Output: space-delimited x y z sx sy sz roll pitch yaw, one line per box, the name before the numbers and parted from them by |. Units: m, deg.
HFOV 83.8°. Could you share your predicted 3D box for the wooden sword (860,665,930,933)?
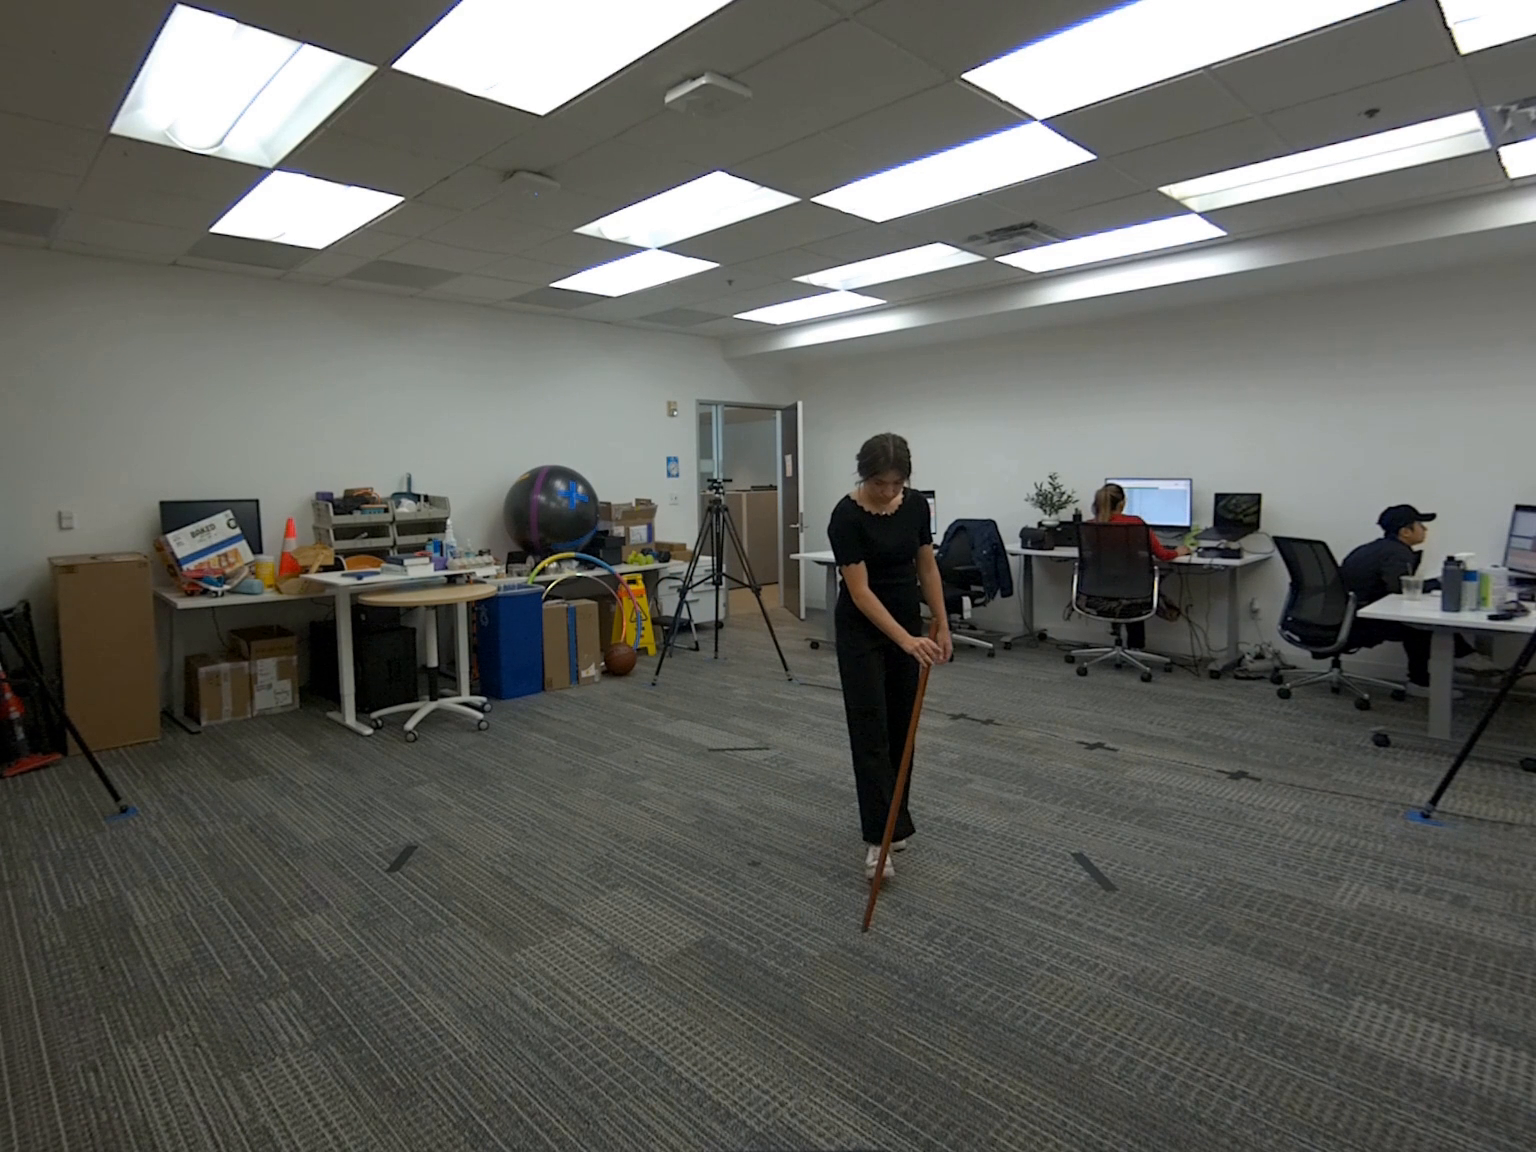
wooden sword | 0.439 0.651 2.795 0.023 1.036 0.052 27 -23 -24
